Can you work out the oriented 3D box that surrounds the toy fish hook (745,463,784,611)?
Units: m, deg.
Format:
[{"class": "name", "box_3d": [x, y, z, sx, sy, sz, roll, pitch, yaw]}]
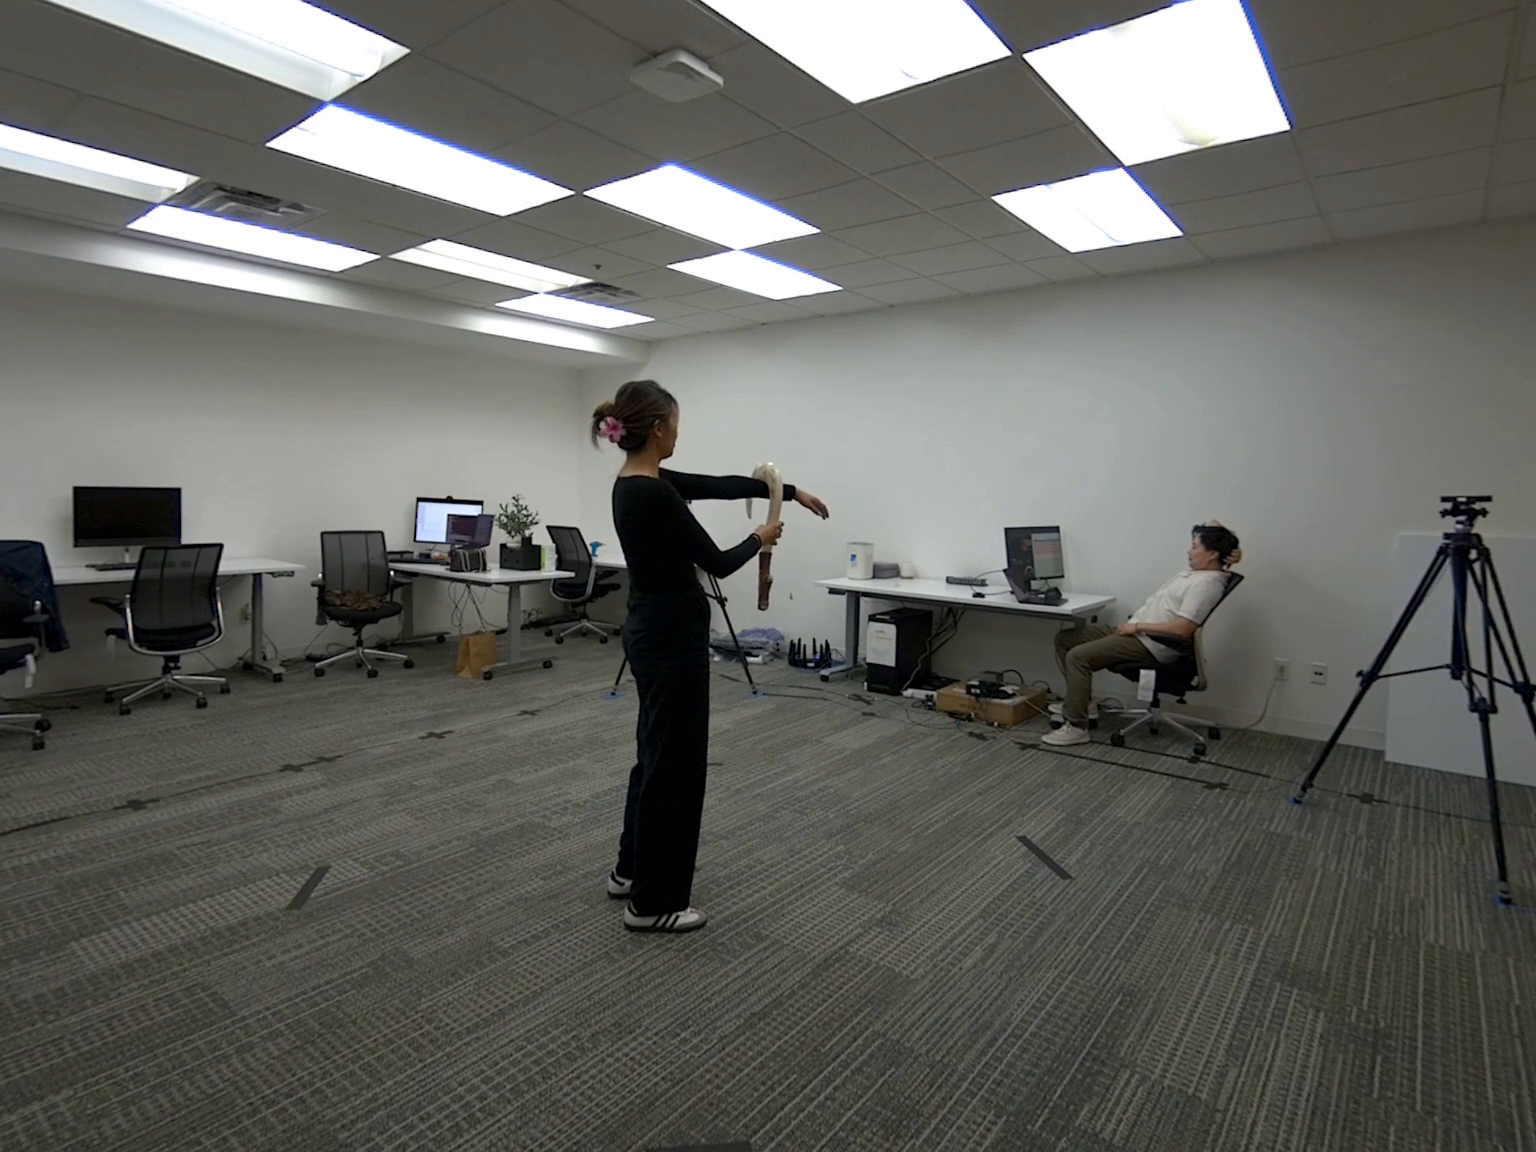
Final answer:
[{"class": "toy fish hook", "box_3d": [-0.034, -0.142, 2.944, 0.047, 0.507, 0.230, 6, -1, -26]}]
